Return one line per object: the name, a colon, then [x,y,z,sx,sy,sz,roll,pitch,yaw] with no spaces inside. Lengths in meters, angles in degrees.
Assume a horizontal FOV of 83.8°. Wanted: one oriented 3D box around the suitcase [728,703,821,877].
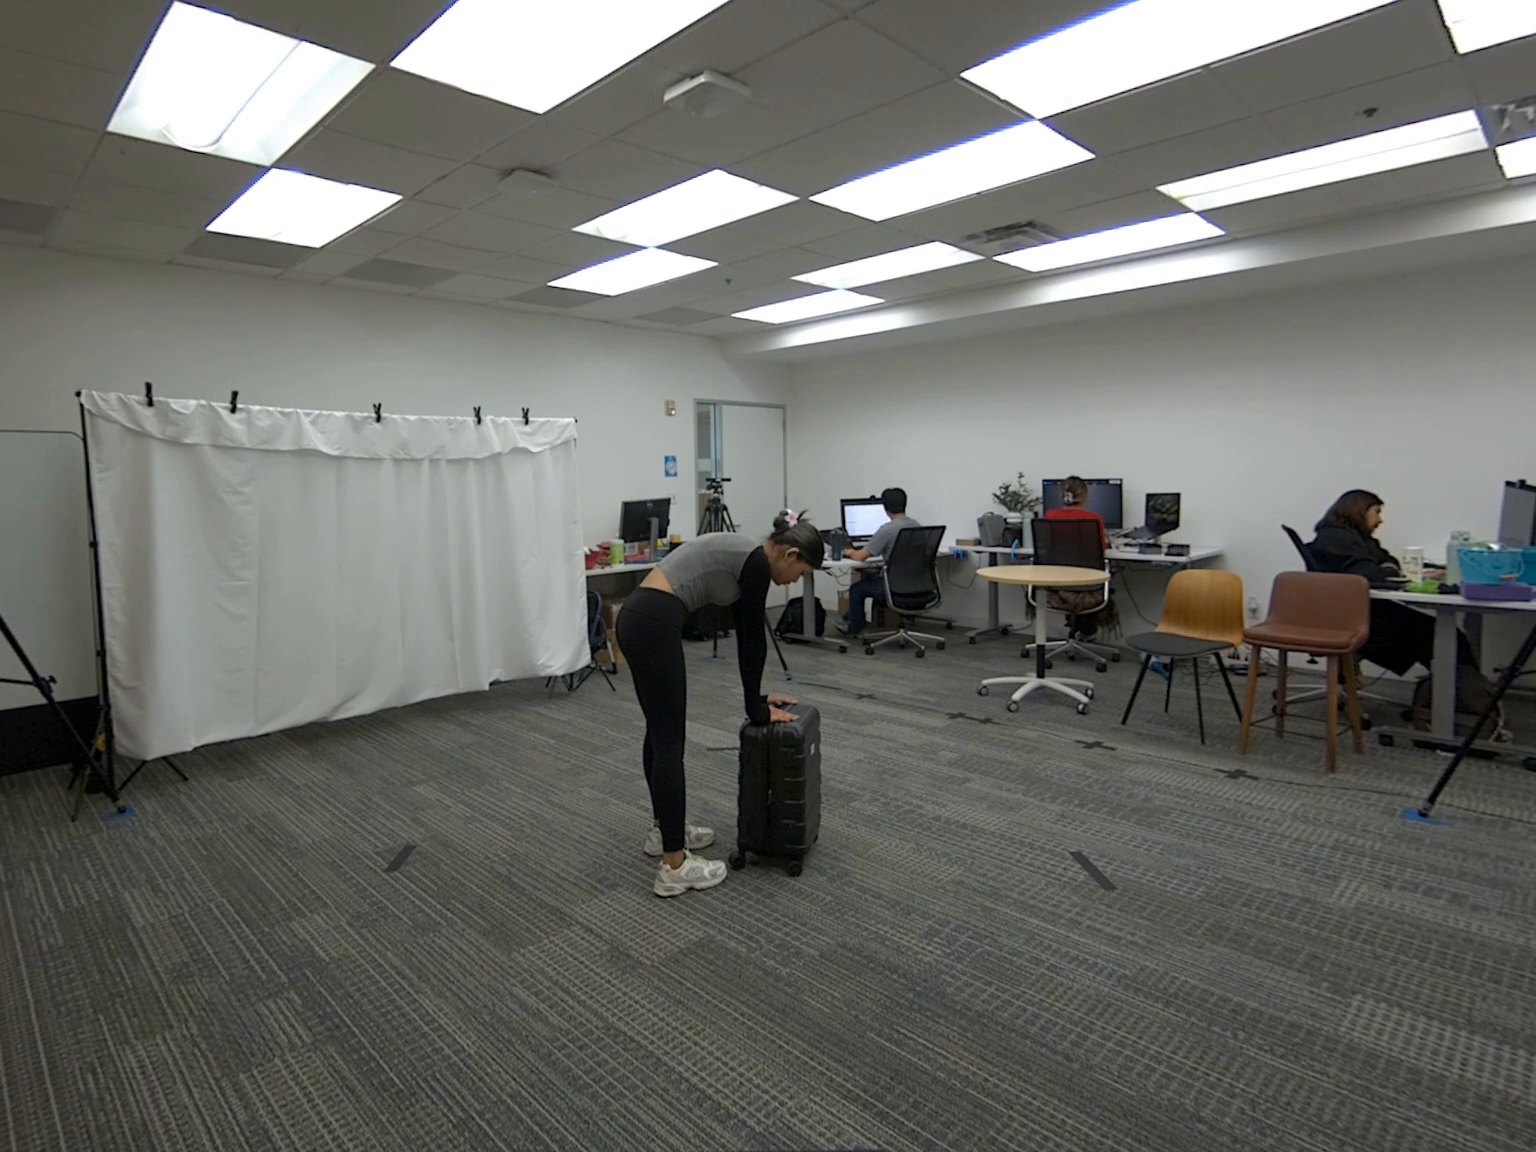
suitcase: [0.043,0.760,3.169,0.252,0.547,0.370,2,5,16]
